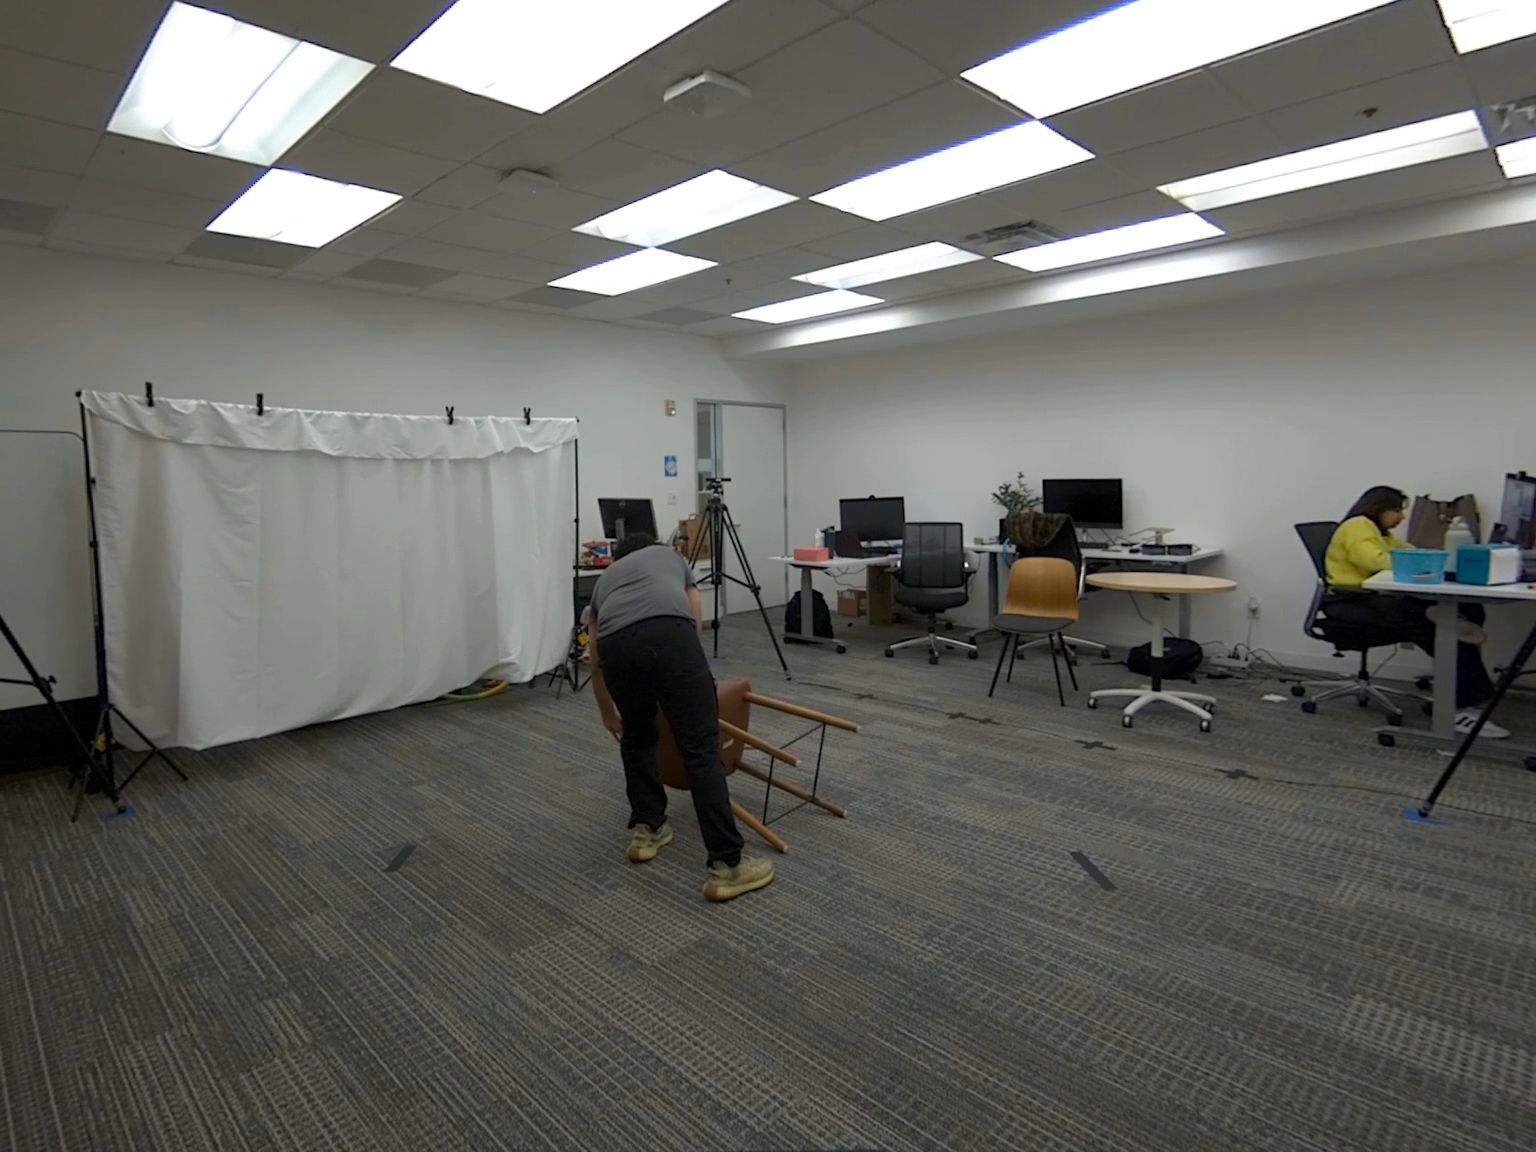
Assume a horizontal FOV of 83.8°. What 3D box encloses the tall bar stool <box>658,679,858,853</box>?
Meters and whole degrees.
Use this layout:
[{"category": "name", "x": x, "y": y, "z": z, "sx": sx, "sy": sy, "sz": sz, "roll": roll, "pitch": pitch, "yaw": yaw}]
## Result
[{"category": "tall bar stool", "x": -0.136, "y": 0.715, "z": 3.567, "sx": 0.920, "sy": 0.452, "sz": 0.457, "roll": 17, "pitch": 17, "yaw": 34}]
